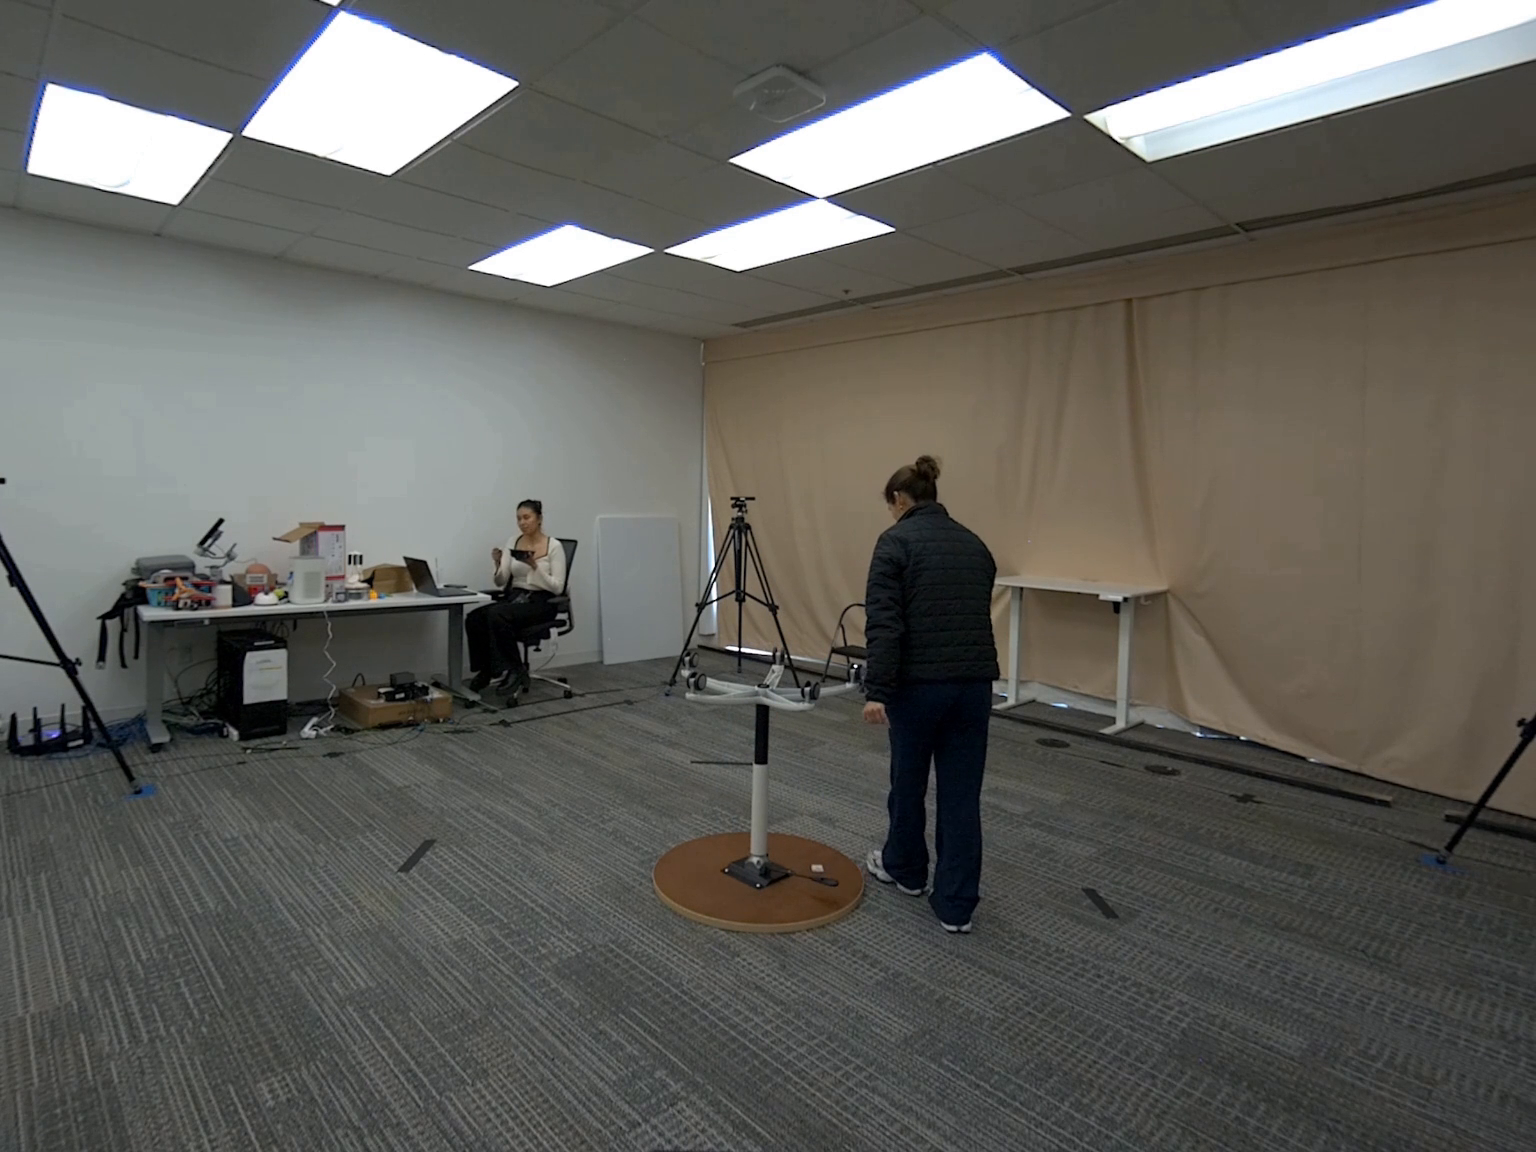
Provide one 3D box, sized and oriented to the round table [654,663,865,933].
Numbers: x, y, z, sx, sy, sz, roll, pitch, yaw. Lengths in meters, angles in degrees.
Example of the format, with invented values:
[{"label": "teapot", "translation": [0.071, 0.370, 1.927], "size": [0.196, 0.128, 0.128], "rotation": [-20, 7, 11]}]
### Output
[{"label": "round table", "translation": [-0.033, 0.710, 3.040], "size": [0.784, 0.784, 0.788], "rotation": [1, 4, -1]}]
